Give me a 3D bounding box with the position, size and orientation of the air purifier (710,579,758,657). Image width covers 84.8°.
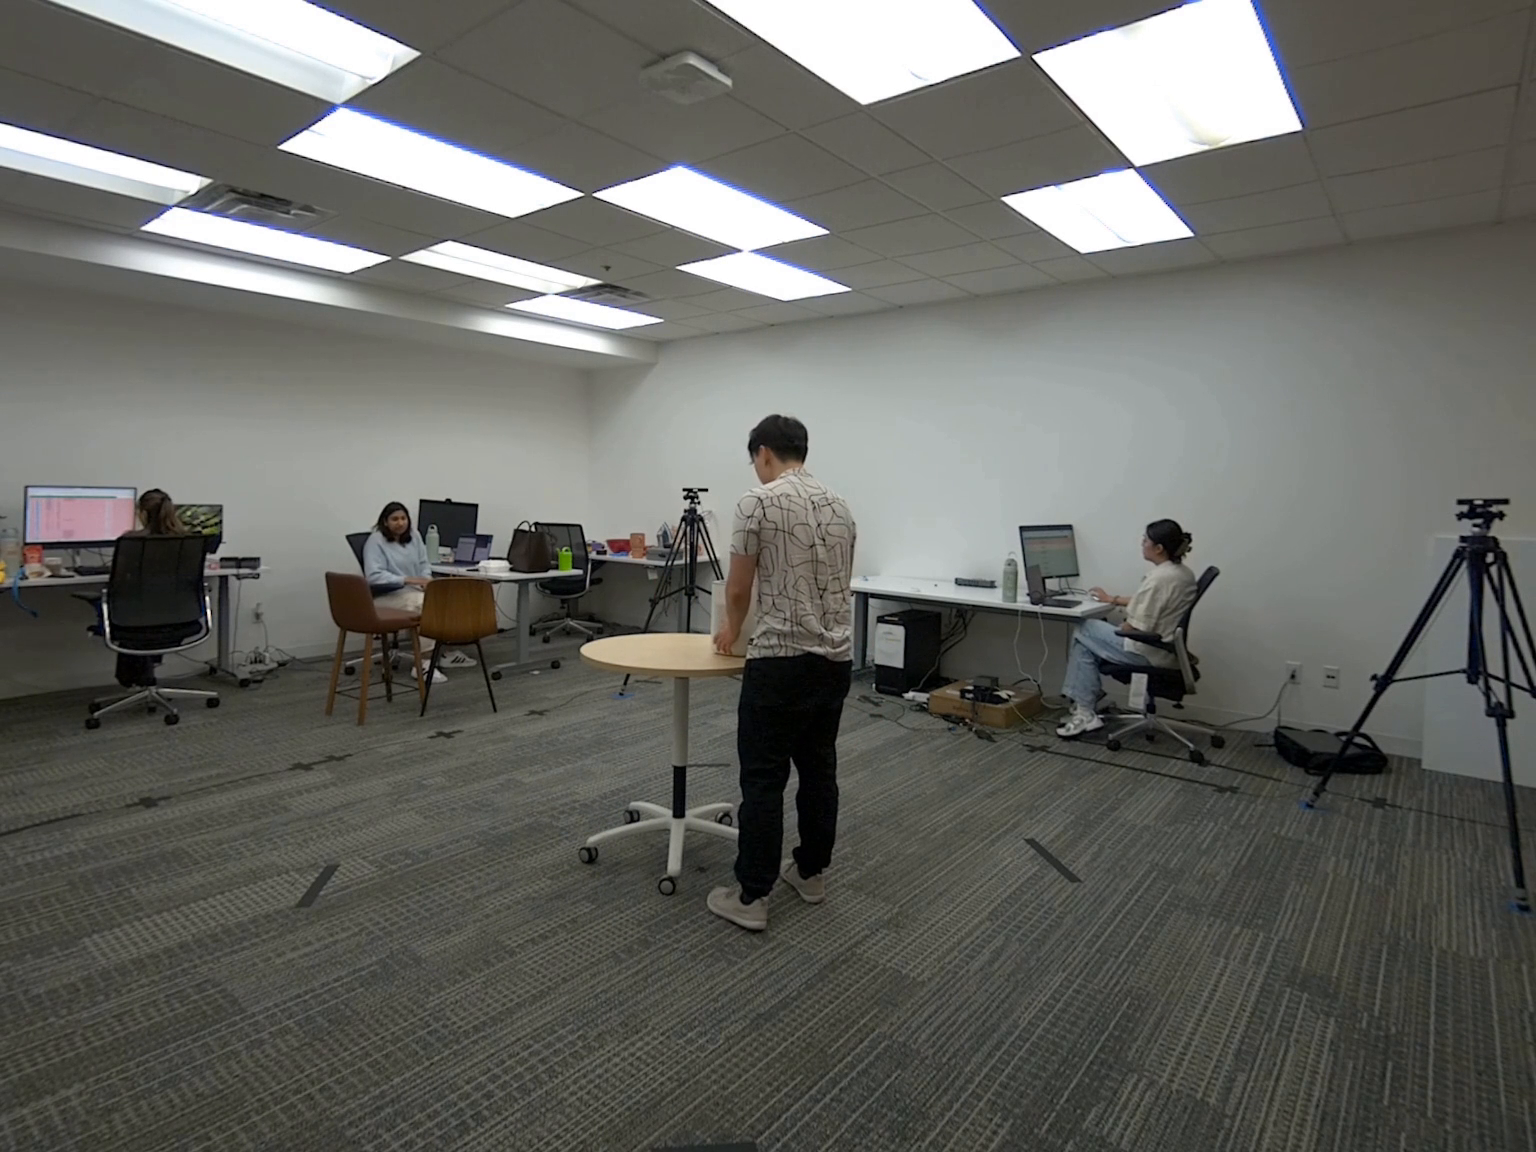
[{"bbox_3d":[-0.126,0.152,3.160,0.176,0.265,0.167,3,3,24],"label":"air purifier"}]
